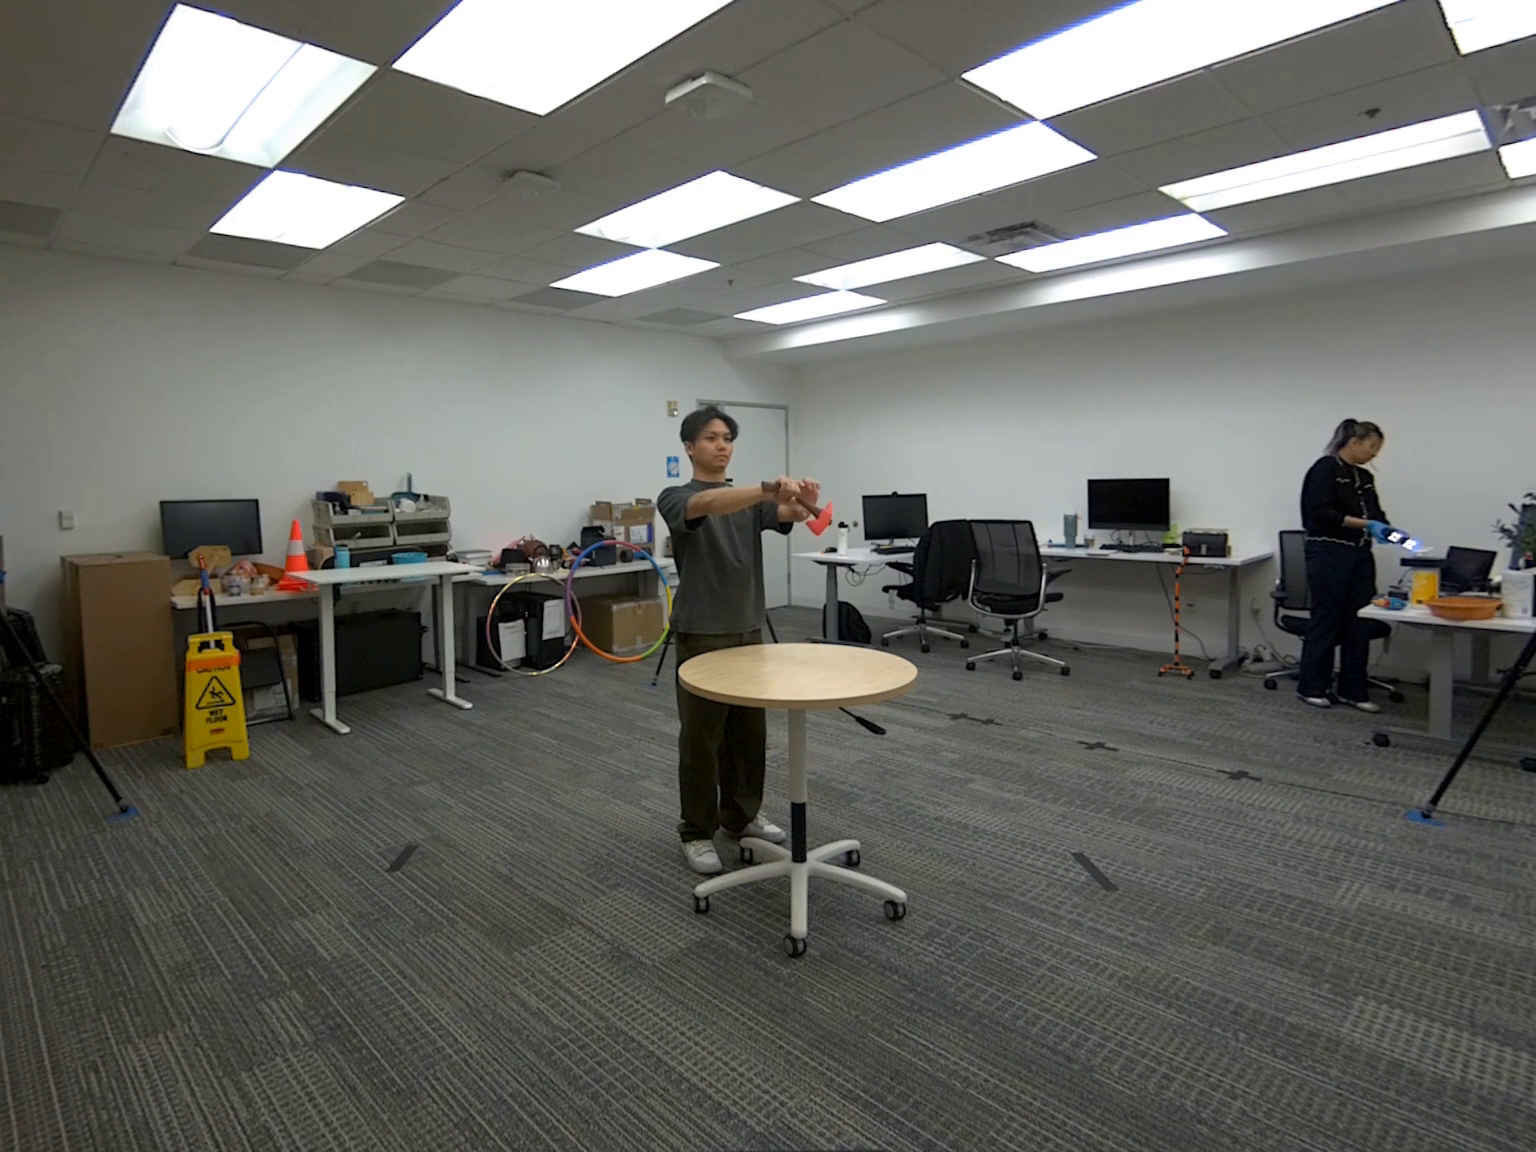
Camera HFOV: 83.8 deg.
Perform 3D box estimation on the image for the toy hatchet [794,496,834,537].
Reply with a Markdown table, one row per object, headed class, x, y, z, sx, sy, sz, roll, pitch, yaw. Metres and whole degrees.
| class | x | y | z | sx | sy | sz | roll | pitch | yaw |
| --- | --- | --- | --- | --- | --- | --- | --- | --- | --- |
| toy hatchet | 0.085 | -0.210 | 2.717 | 0.263 | 0.133 | 0.030 | 13 | -19 | -24 |
